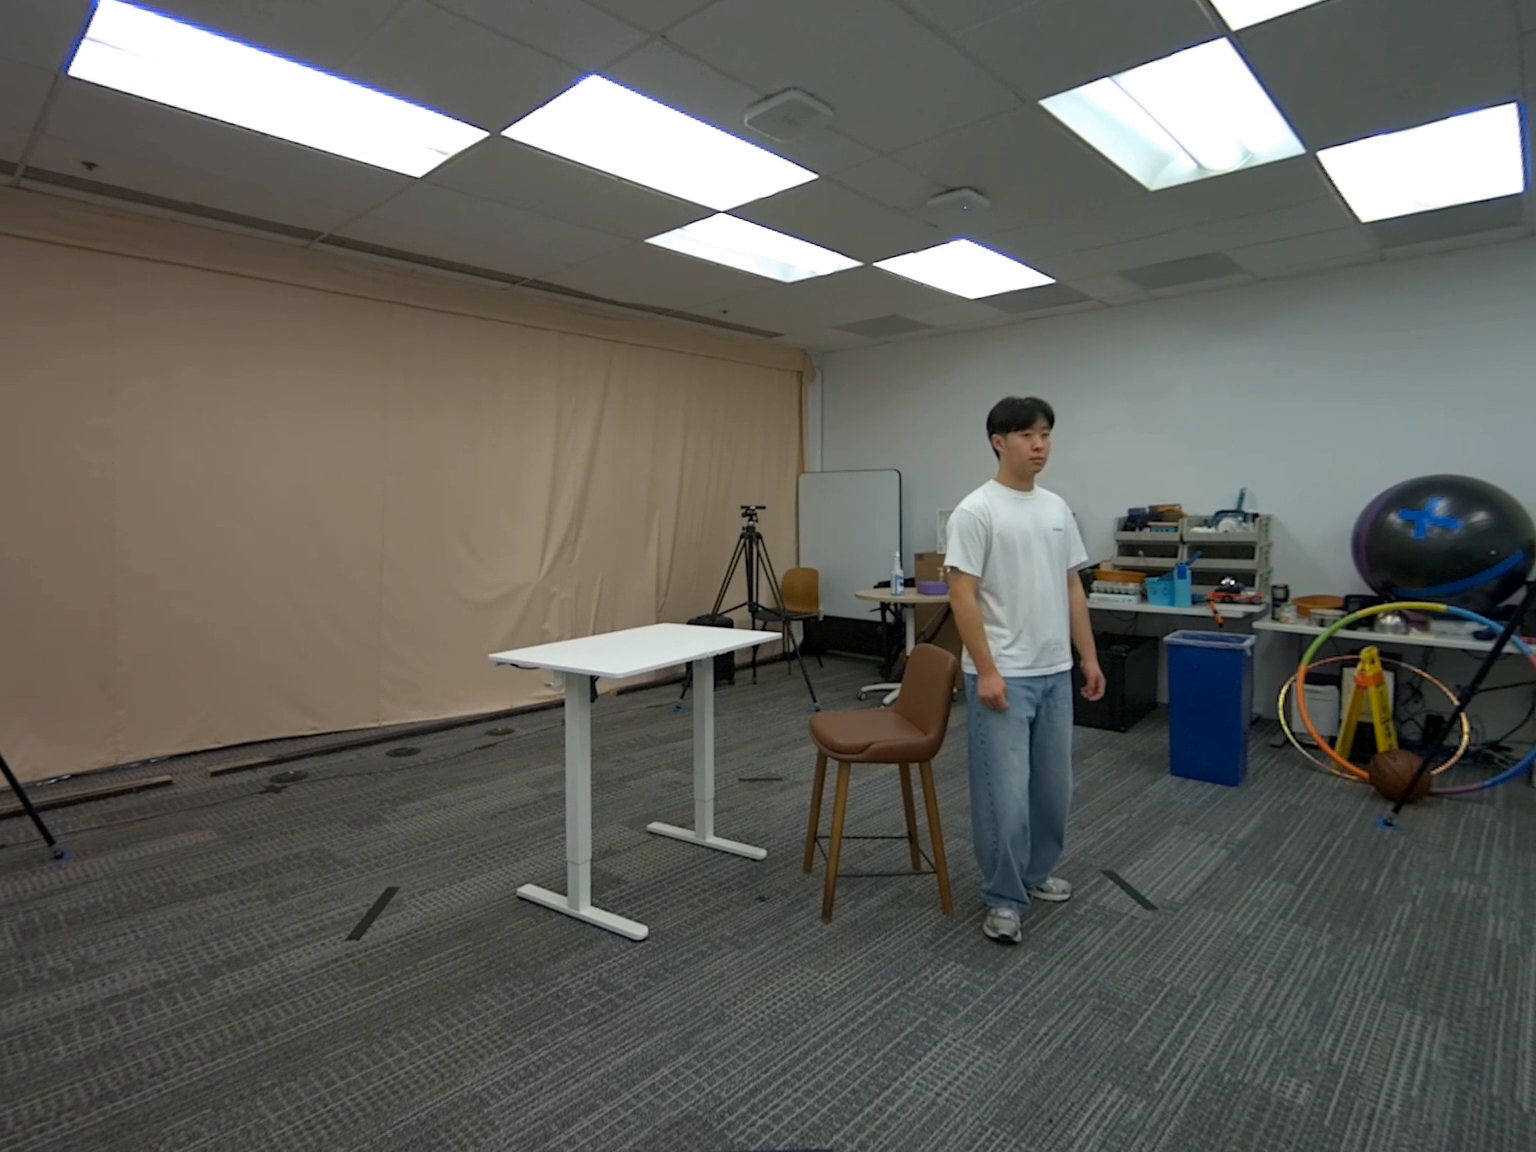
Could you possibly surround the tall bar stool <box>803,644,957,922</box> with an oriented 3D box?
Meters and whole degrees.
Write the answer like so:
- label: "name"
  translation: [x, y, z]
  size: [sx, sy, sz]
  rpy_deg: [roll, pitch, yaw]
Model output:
- label: "tall bar stool"
  translation: [0.394, 0.705, 2.997]
  size: [0.464, 0.888, 0.461]
  rpy_deg: [1, 3, -7]
